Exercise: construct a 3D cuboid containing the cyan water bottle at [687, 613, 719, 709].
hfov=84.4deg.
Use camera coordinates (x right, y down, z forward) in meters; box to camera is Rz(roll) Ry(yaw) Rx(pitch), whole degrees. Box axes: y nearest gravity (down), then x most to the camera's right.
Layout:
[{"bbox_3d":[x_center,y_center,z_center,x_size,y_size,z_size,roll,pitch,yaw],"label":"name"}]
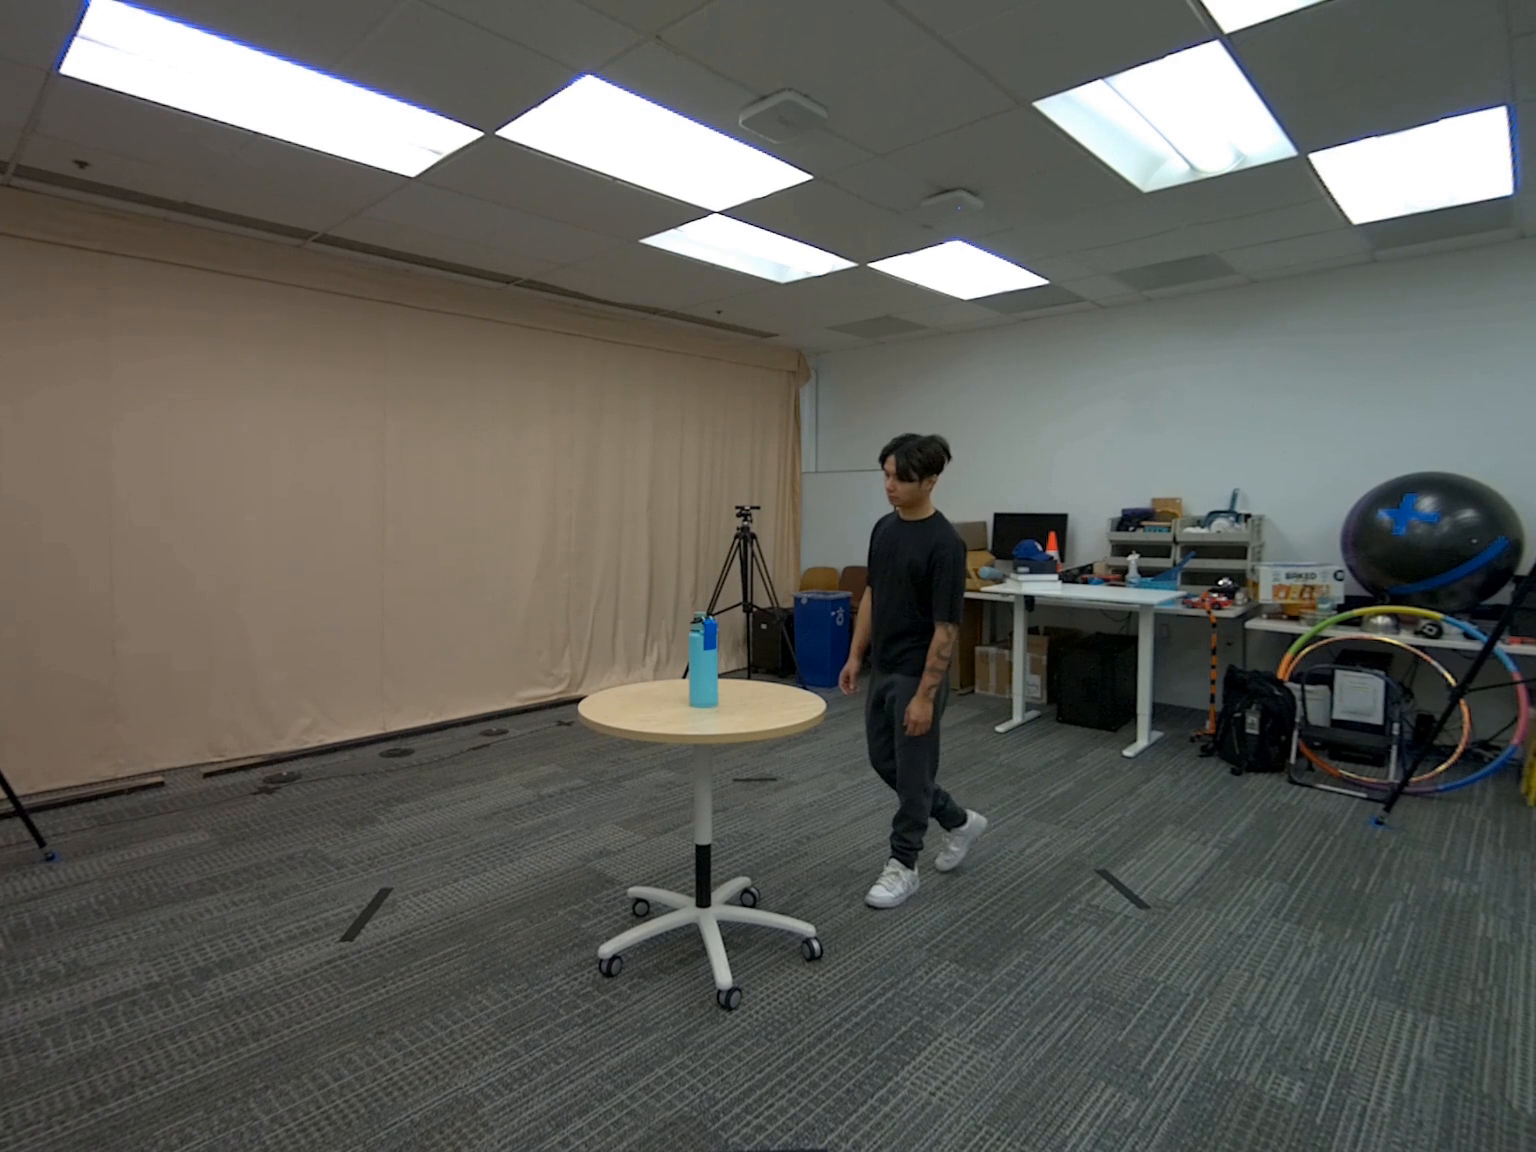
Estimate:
[{"bbox_3d":[-0.194,0.257,2.577,0.092,0.283,0.092,1,3,-2],"label":"cyan water bottle"}]
